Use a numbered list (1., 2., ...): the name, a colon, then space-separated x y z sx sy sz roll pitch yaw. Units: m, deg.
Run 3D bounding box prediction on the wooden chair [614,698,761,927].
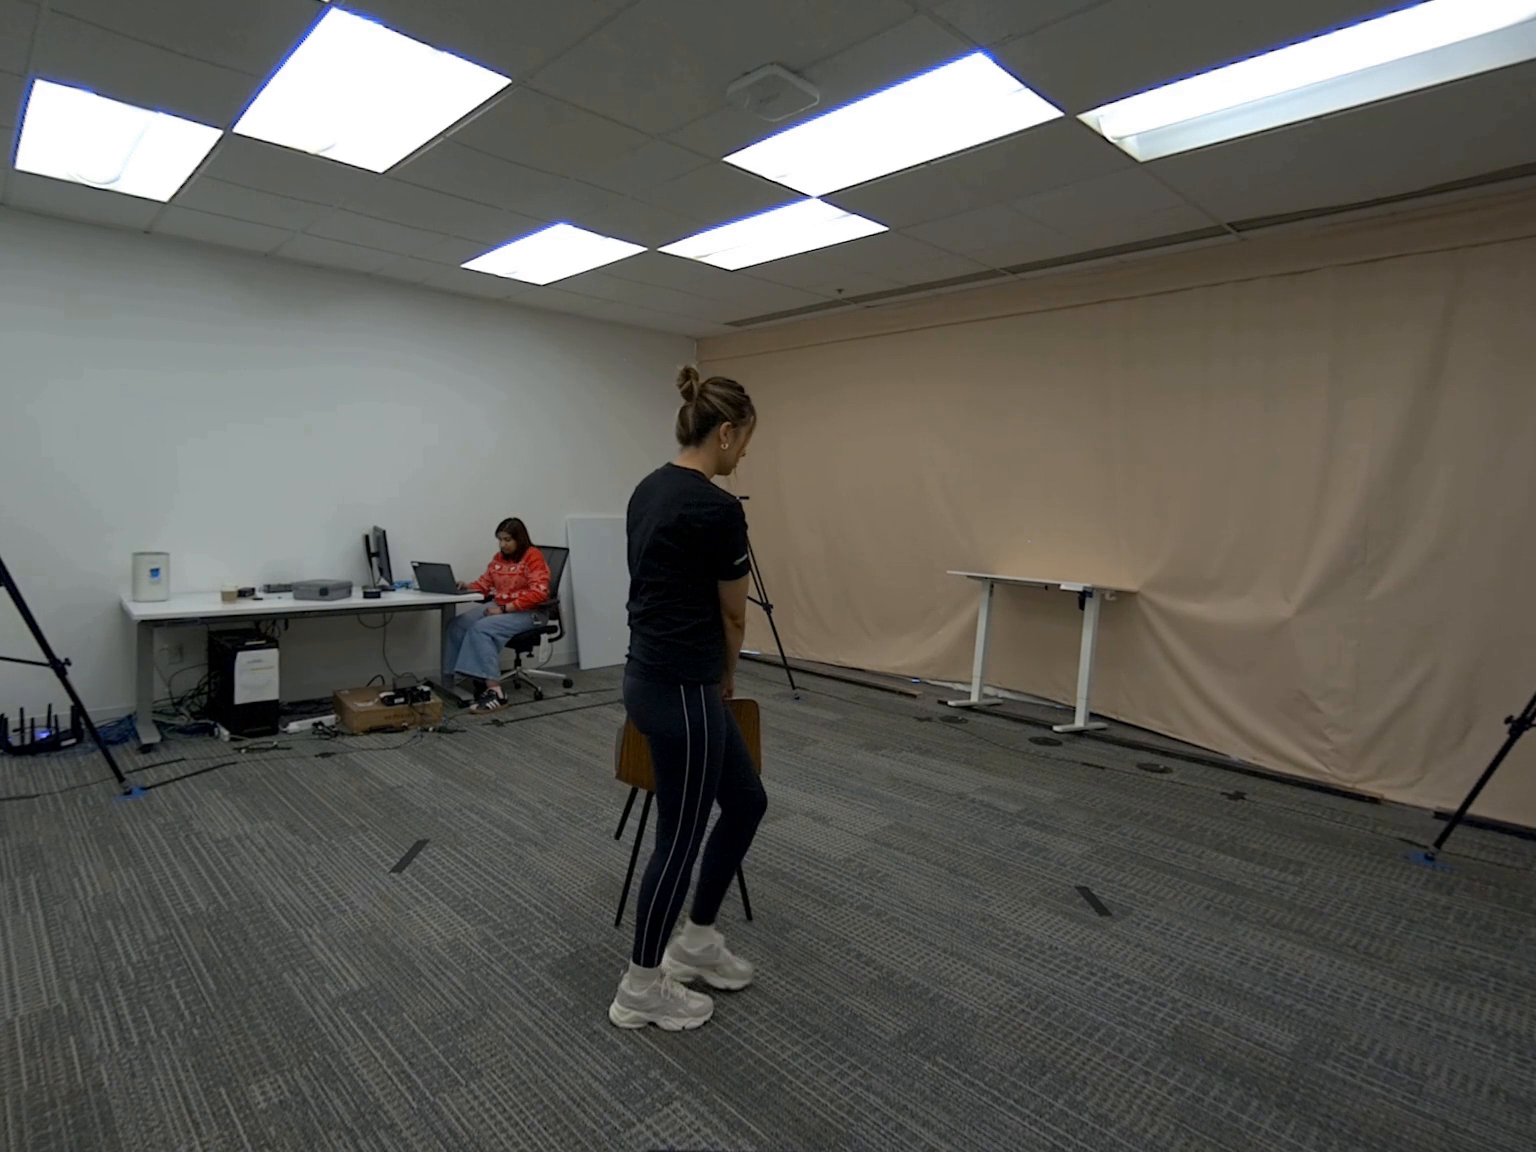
1. wooden chair: -0.289 0.658 2.829 0.474 0.865 0.534 1 22 -10
